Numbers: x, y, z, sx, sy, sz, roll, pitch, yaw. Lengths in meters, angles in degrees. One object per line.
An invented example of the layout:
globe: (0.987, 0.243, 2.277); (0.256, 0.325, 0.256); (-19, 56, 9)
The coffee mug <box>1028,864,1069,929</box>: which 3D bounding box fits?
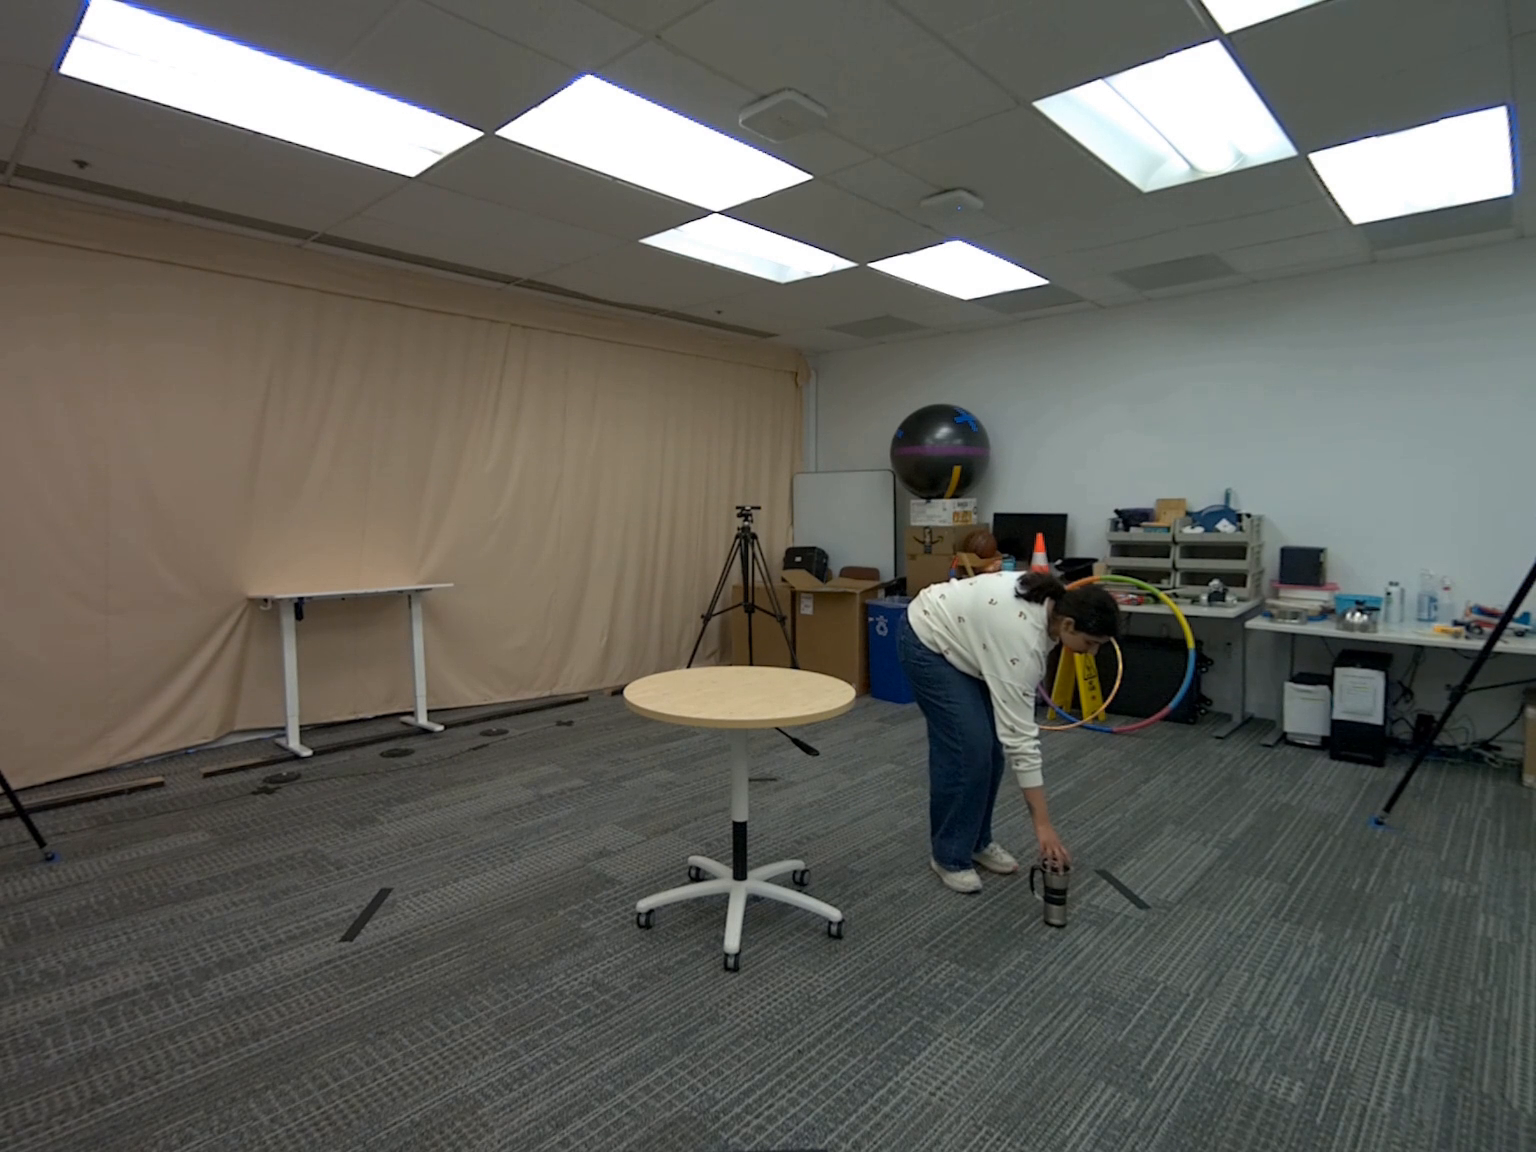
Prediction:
coffee mug: (0.938, 1.054, 2.816); (0.126, 0.202, 0.085); (4, 9, 40)
